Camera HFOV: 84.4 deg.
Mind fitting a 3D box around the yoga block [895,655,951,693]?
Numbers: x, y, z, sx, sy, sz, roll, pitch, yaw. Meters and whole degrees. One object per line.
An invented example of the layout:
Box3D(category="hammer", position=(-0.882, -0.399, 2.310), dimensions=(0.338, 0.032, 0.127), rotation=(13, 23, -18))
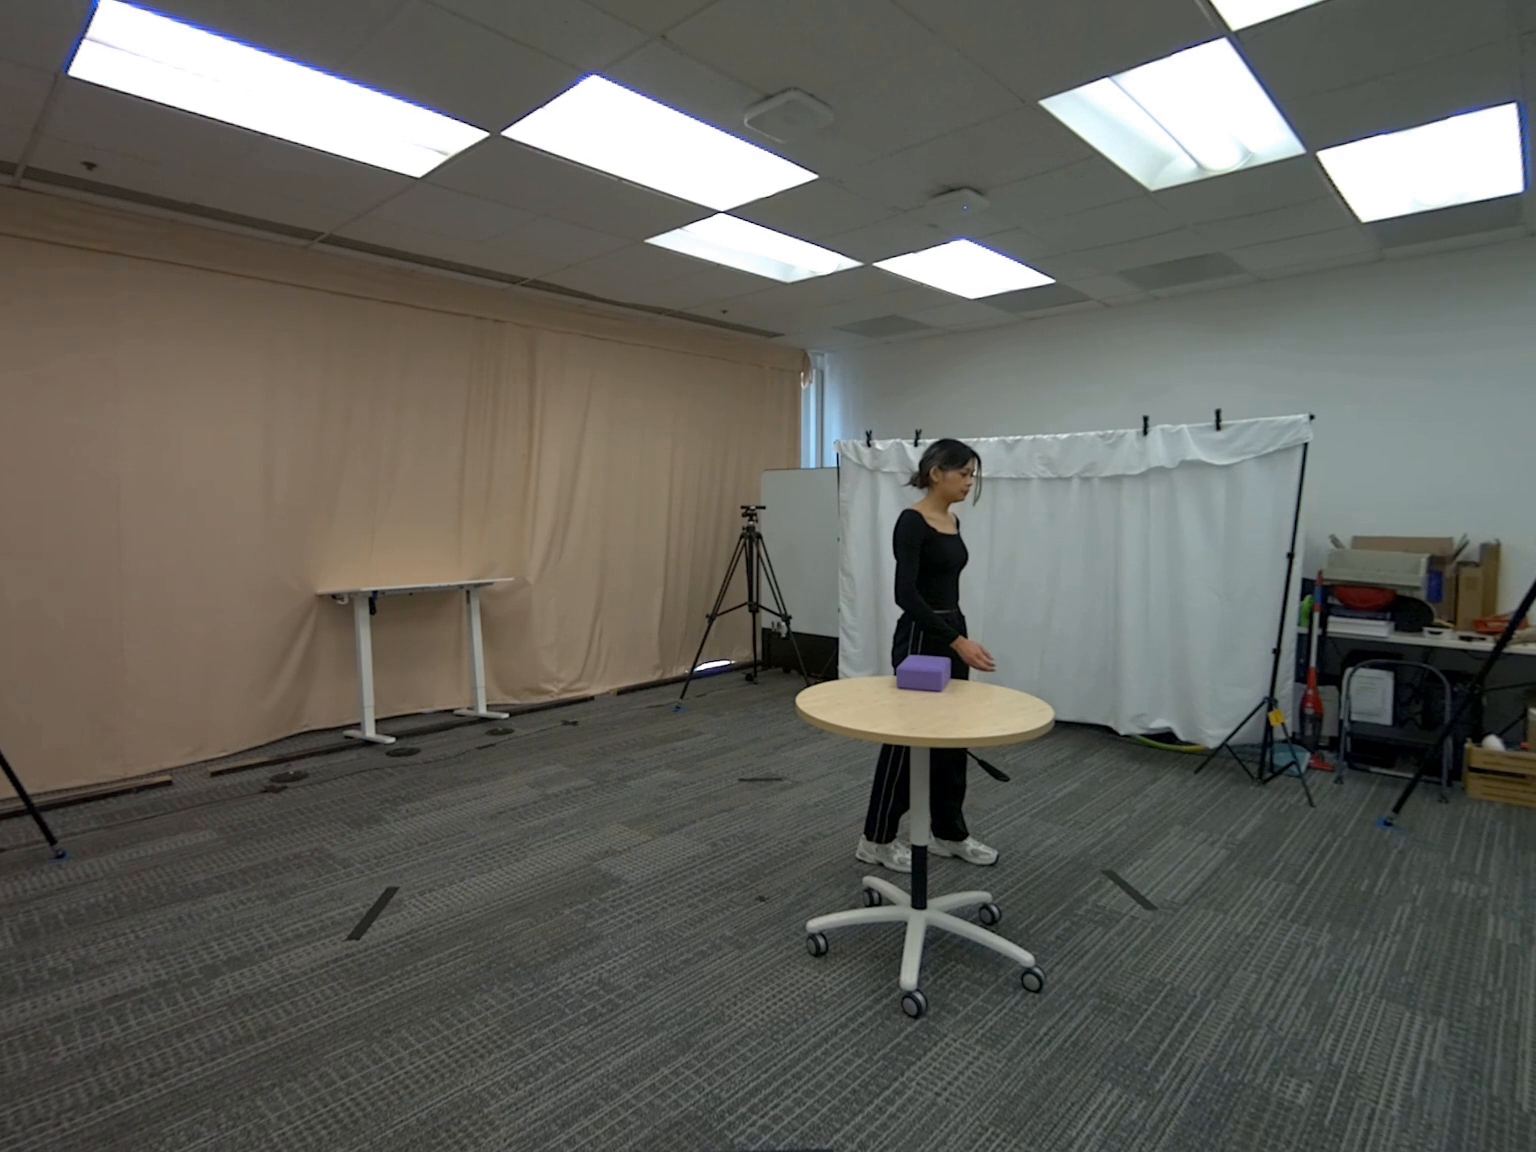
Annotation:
Box3D(category="yoga block", position=(0.536, 0.329, 2.848), dimensions=(0.152, 0.076, 0.225), rotation=(2, 6, 19))
